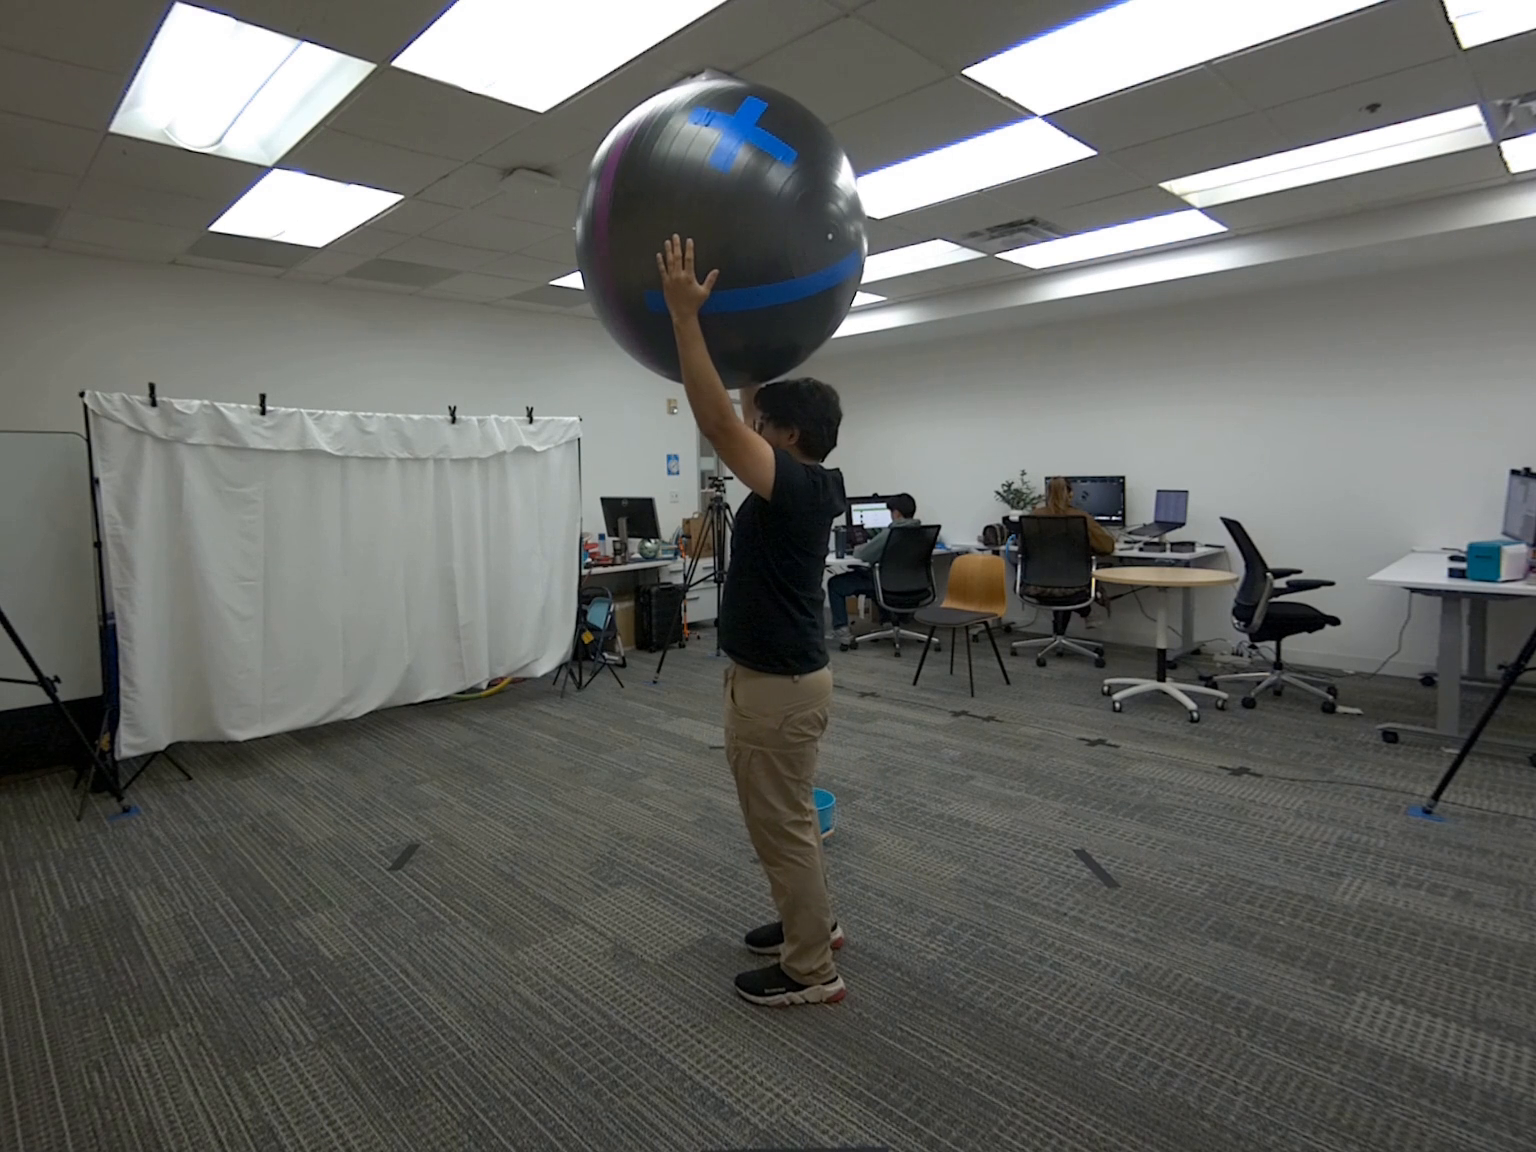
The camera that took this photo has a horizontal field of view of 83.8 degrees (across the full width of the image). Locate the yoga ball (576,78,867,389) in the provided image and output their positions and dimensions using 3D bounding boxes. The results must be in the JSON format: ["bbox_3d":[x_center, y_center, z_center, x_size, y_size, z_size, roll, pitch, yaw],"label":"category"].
[{"bbox_3d":[-0.124,-0.866,2.236,0.757,0.755,0.762,-1,5,-2],"label":"yoga ball"}]
